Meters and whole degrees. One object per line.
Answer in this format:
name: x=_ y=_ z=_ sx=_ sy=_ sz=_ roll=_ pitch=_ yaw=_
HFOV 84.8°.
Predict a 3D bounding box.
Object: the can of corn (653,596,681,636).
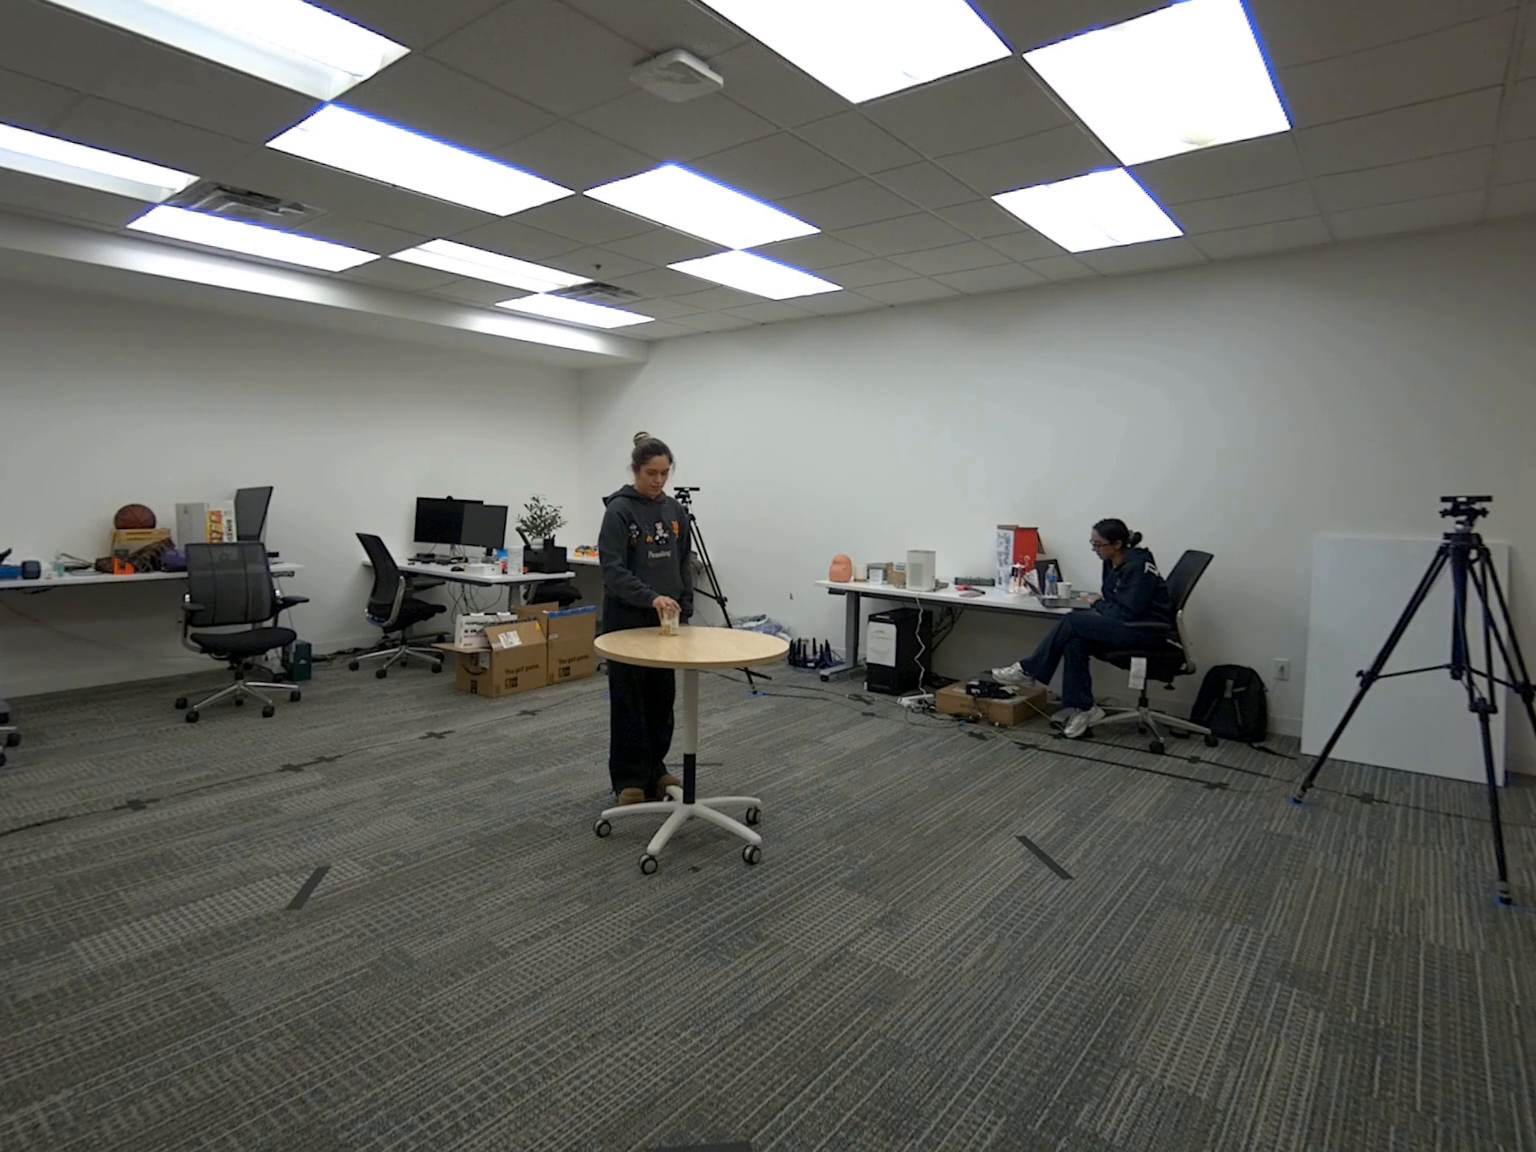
can of corn: x=-0.421 y=0.183 z=3.509 sx=0.074 sy=0.111 sz=0.074 roll=-2 pitch=4 yaw=-2
